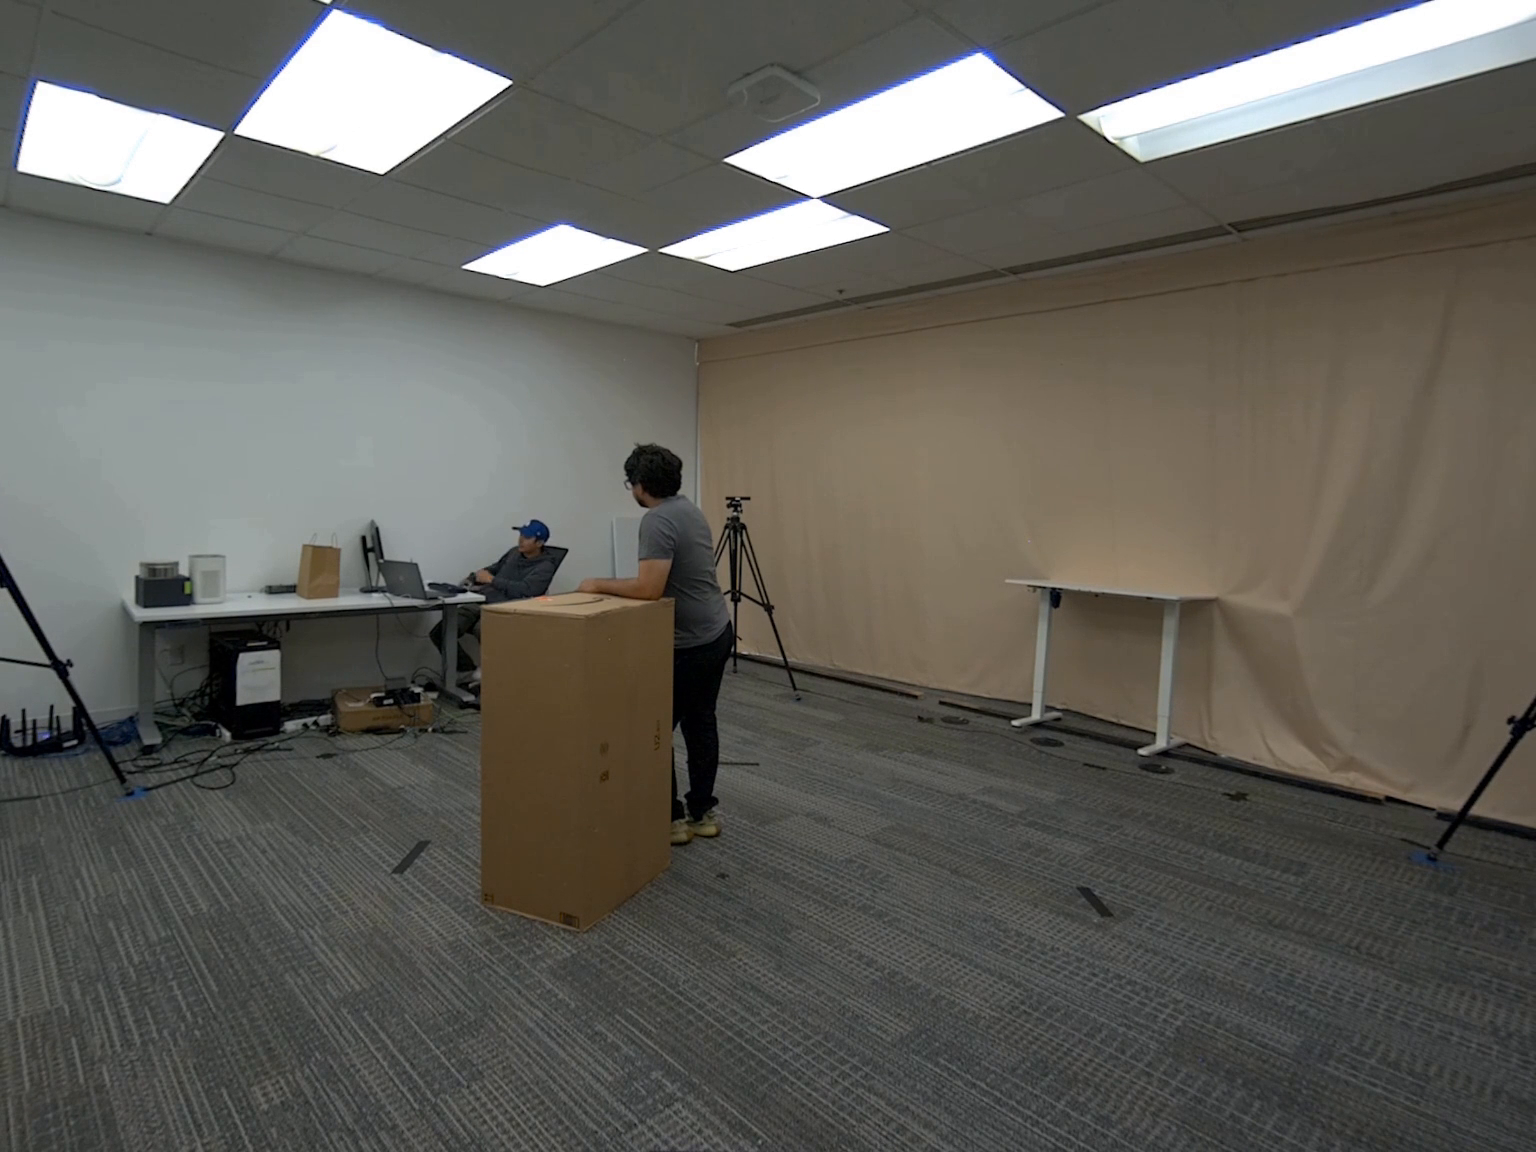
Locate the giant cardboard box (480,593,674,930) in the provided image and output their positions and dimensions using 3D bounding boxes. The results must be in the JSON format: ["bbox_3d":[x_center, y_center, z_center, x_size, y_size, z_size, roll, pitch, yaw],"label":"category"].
[{"bbox_3d":[-0.676,0.599,2.985,0.434,1.023,0.568,3,4,25],"label":"giant cardboard box"}]
